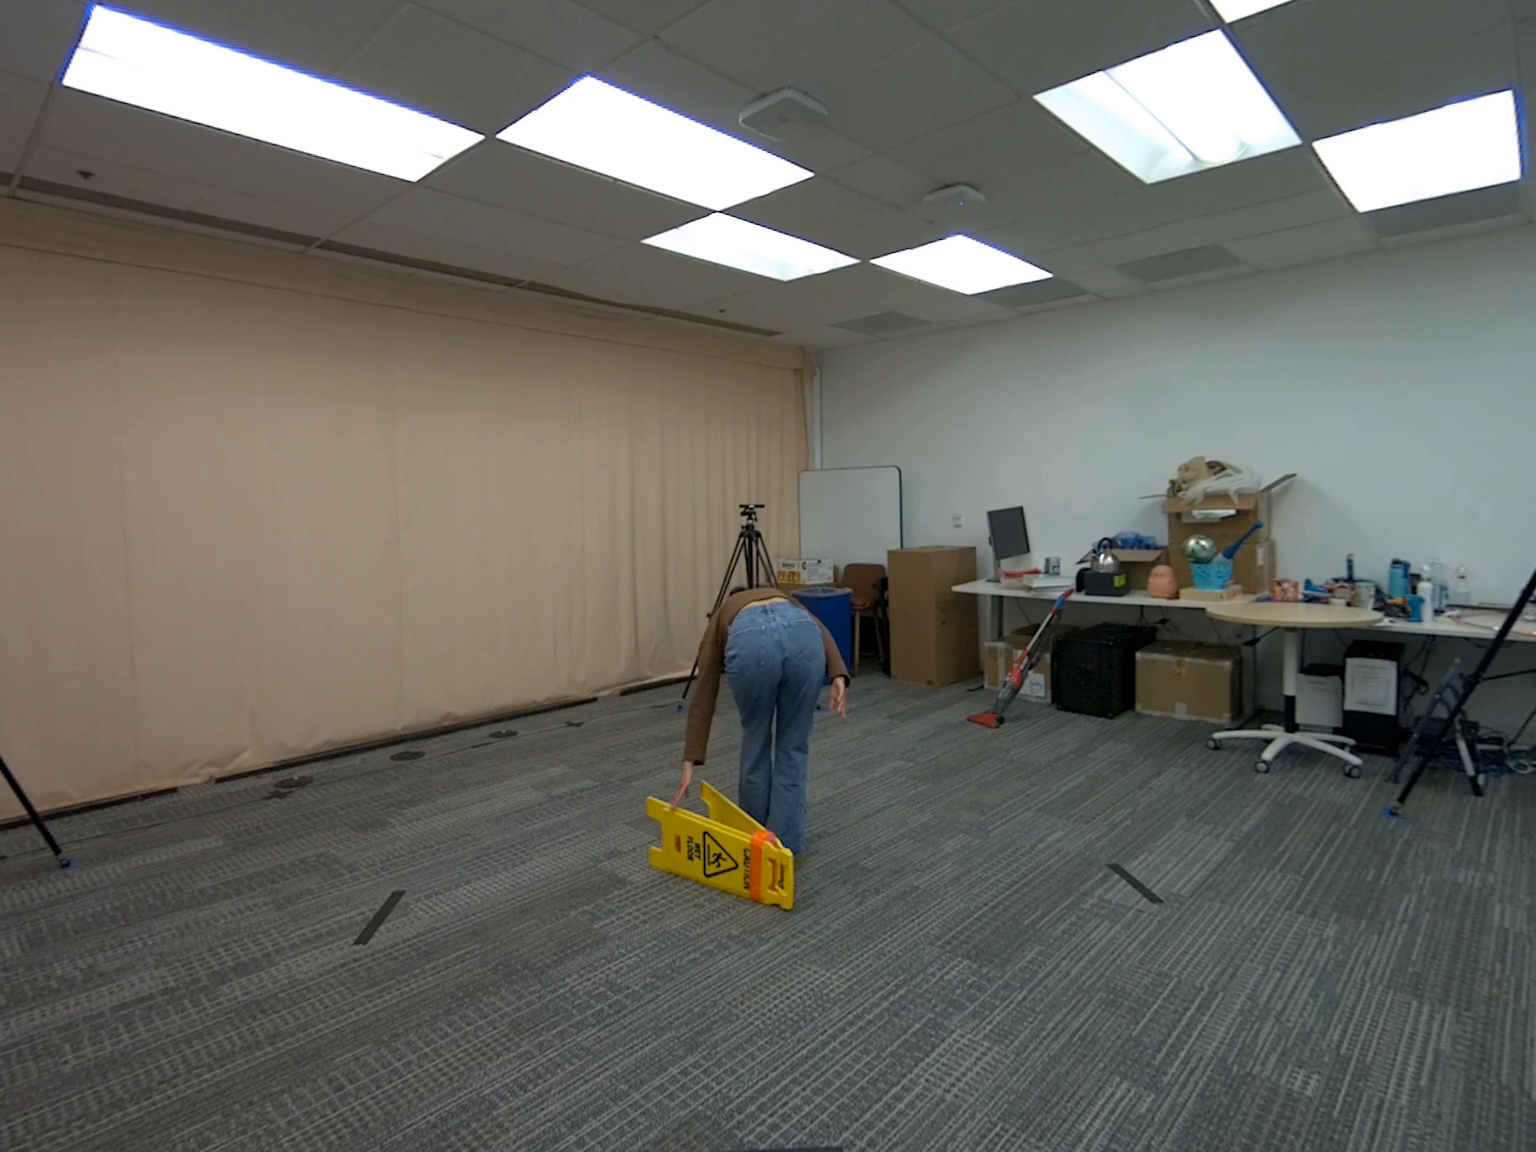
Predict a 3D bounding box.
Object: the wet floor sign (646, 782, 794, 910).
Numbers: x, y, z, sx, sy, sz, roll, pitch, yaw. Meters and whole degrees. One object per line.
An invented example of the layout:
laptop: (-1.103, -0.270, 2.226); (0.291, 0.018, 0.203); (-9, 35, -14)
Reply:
wet floor sign: (-0.138, 1.004, 3.106); (0.281, 0.281, 0.668); (-6, 10, -42)
